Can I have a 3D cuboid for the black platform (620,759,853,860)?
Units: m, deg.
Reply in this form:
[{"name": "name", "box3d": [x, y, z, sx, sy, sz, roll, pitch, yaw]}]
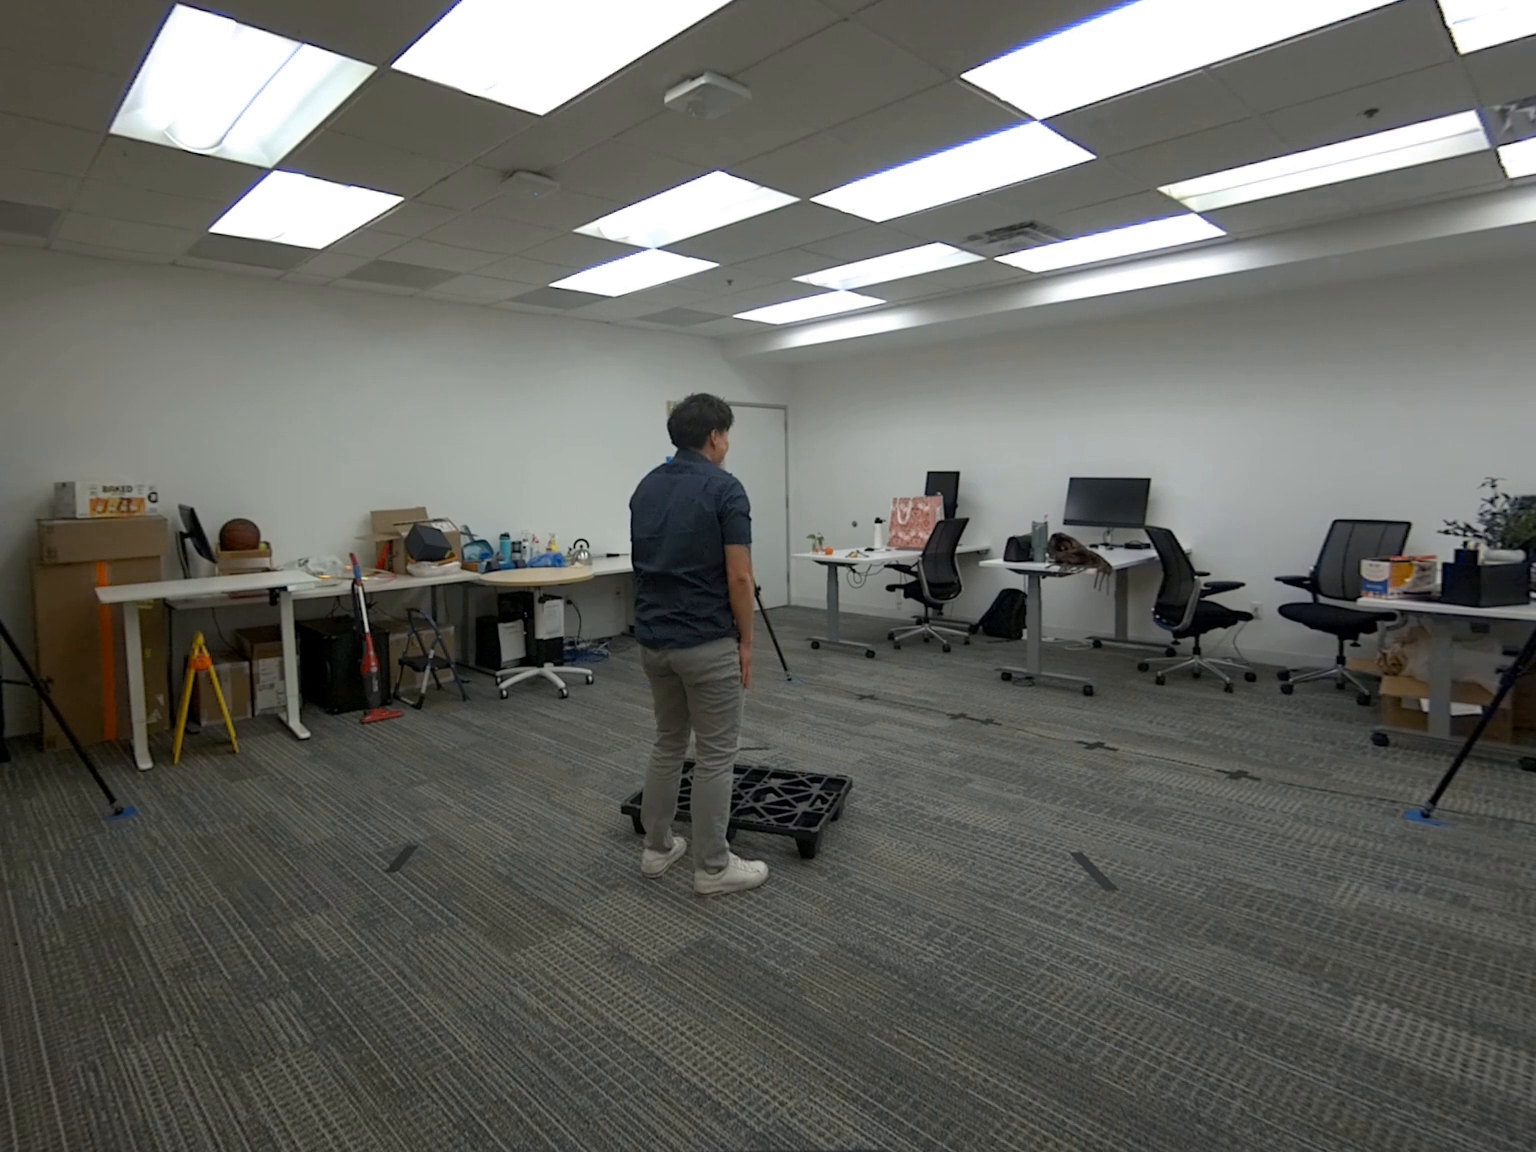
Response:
[{"name": "black platform", "box3d": [-0.105, 0.937, 3.471, 0.821, 0.142, 0.596, 1, 7, 20]}]
